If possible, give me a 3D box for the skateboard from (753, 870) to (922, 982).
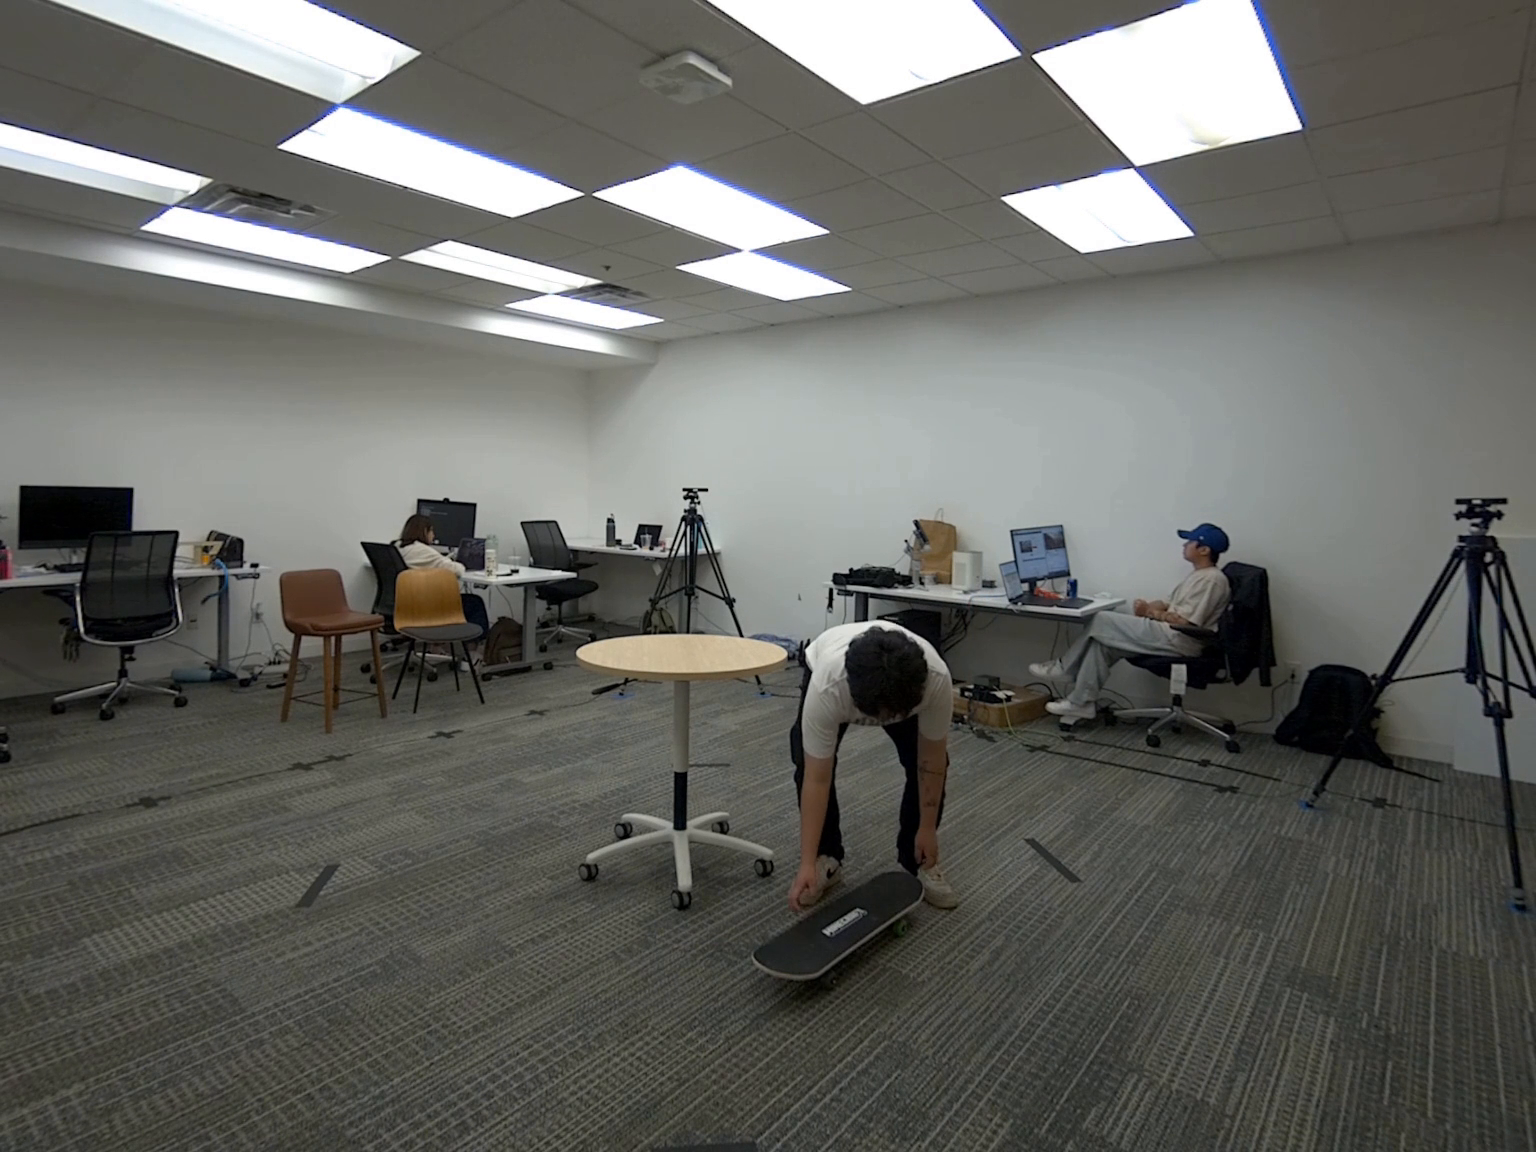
[{"bbox_3d":[0.235,1.081,2.574,0.200,0.110,0.762,6,7,40],"label":"skateboard"}]
